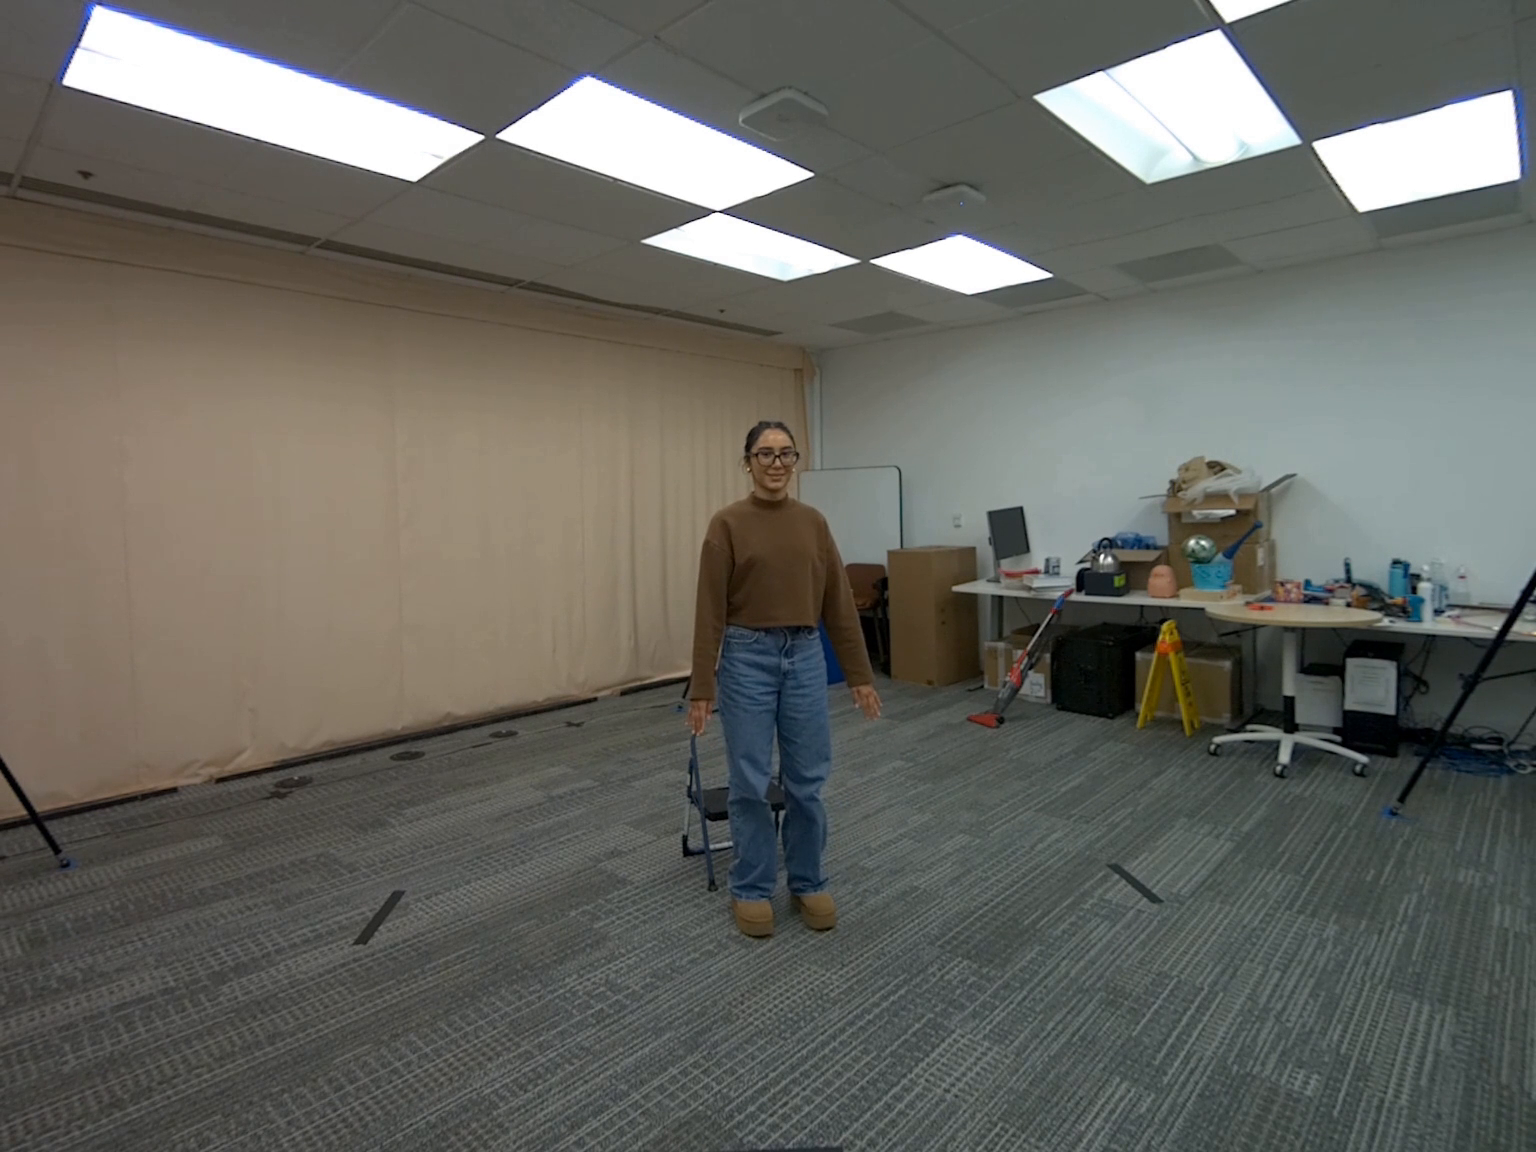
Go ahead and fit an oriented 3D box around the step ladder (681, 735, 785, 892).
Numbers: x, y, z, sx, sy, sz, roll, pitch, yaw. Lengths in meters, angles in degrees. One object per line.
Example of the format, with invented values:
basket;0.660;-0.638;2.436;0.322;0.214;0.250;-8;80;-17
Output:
step ladder;-0.088;0.818;3.255;0.421;0.604;0.358;-3;4;-23
